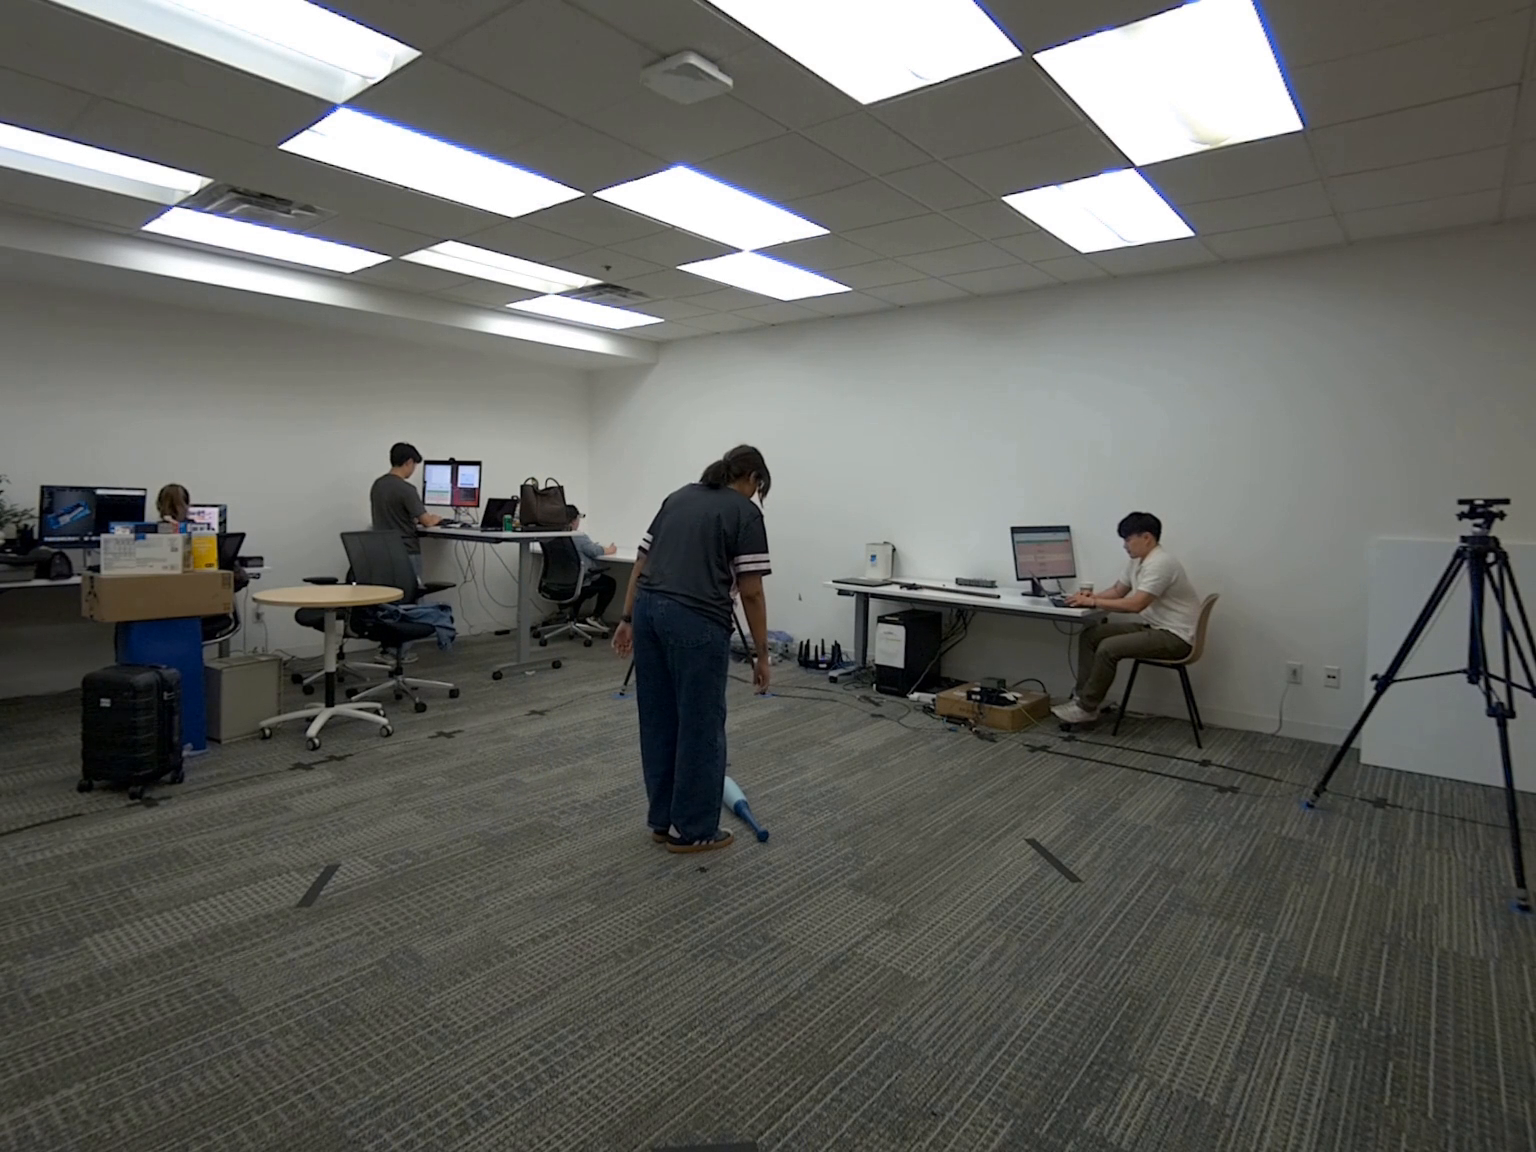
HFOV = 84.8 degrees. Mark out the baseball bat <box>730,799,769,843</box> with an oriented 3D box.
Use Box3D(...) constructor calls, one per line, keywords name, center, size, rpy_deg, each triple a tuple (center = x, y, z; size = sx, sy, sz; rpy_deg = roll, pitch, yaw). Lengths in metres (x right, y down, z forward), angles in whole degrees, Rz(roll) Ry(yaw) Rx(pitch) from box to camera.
Box3D(name="baseball bat", center=(-0.115, 0.987, 3.615), size=(0.087, 0.088, 0.557), rpy_deg=(-1, 9, -20))
